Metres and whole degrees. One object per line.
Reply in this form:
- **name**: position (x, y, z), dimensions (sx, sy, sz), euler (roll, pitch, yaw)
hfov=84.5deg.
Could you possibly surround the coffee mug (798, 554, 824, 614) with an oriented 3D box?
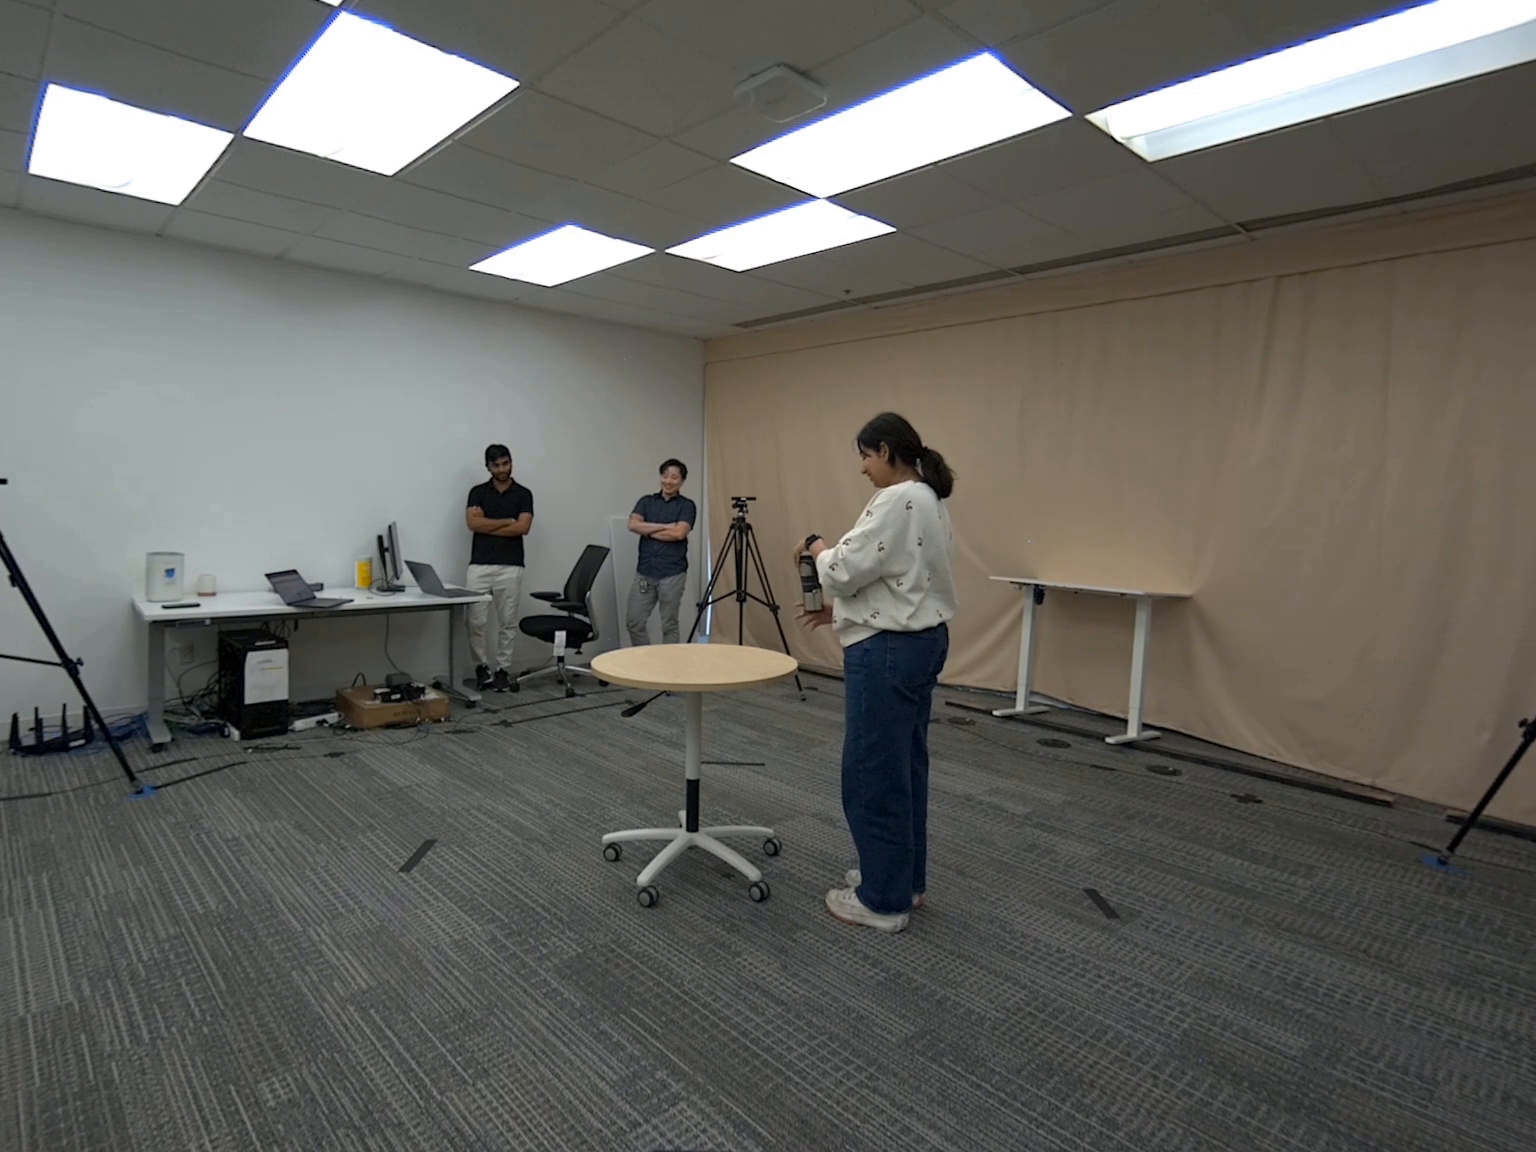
- **coffee mug**: position (0.148, 0.035, 2.925), dimensions (0.089, 0.202, 0.120), euler (-2, 2, 17)
